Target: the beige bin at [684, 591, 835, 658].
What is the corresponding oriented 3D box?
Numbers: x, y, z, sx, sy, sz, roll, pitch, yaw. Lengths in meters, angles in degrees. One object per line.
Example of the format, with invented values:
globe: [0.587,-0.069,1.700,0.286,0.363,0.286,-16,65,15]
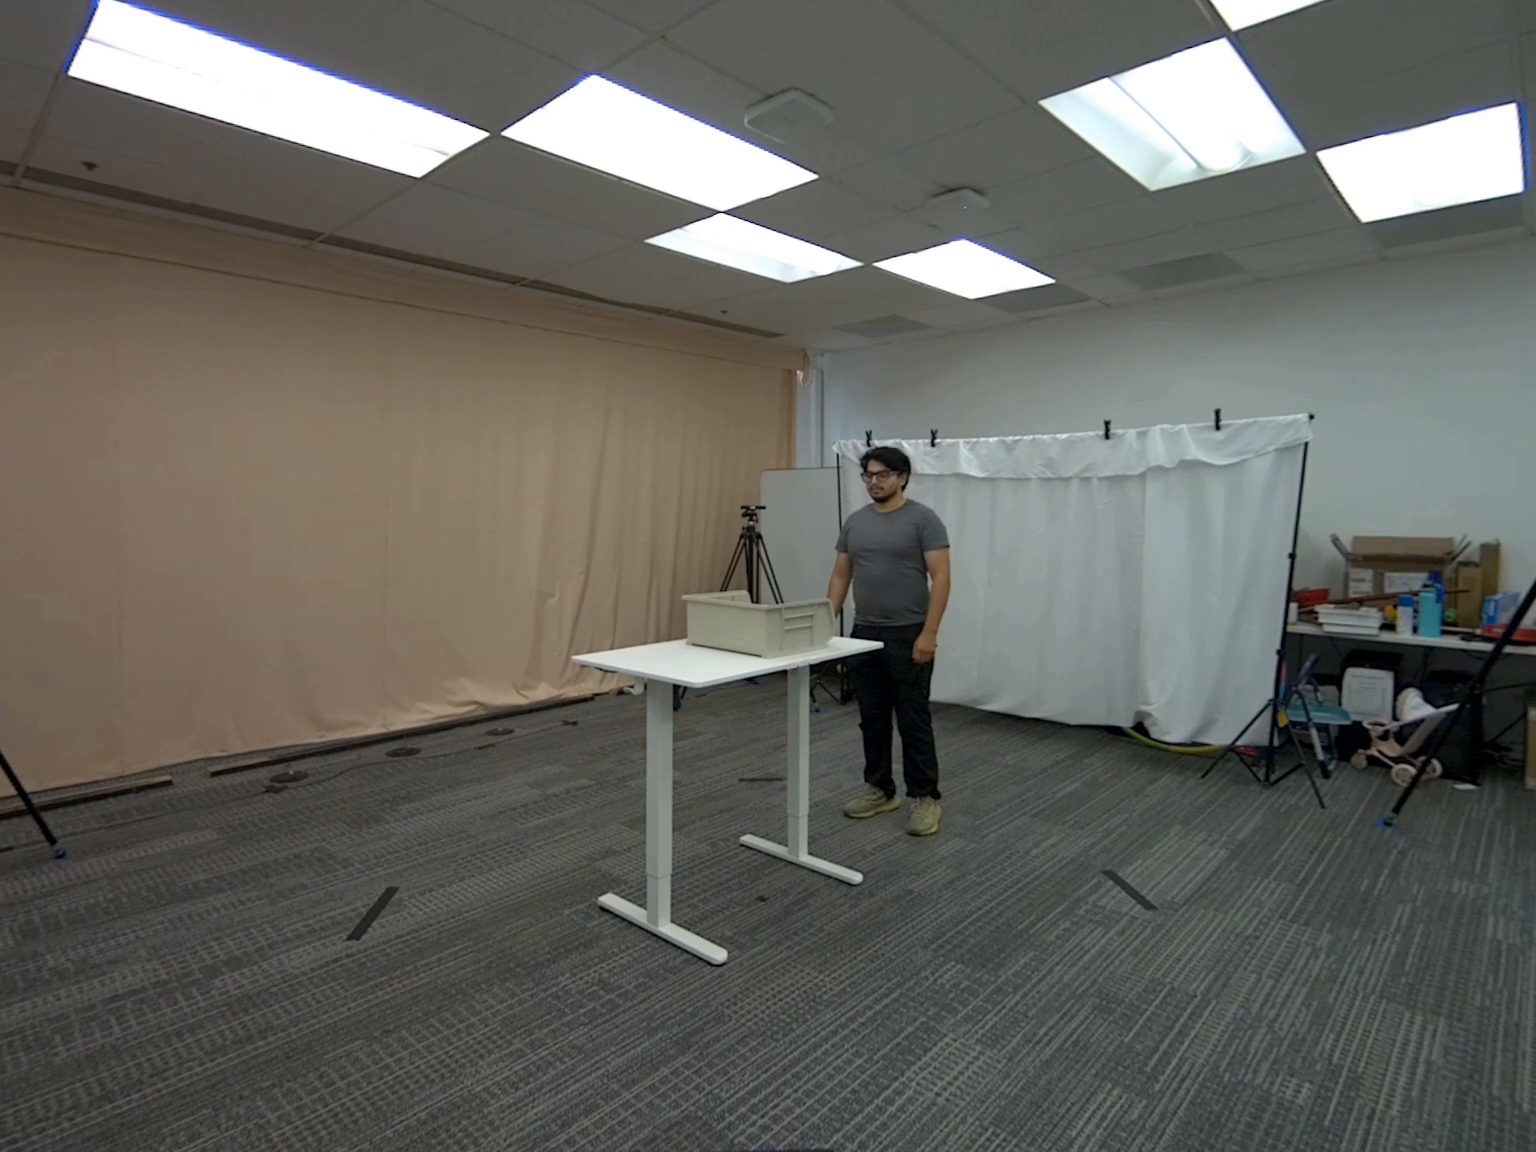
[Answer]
beige bin: [-0.032,0.168,3.063,0.436,0.188,0.366,5,7,43]
